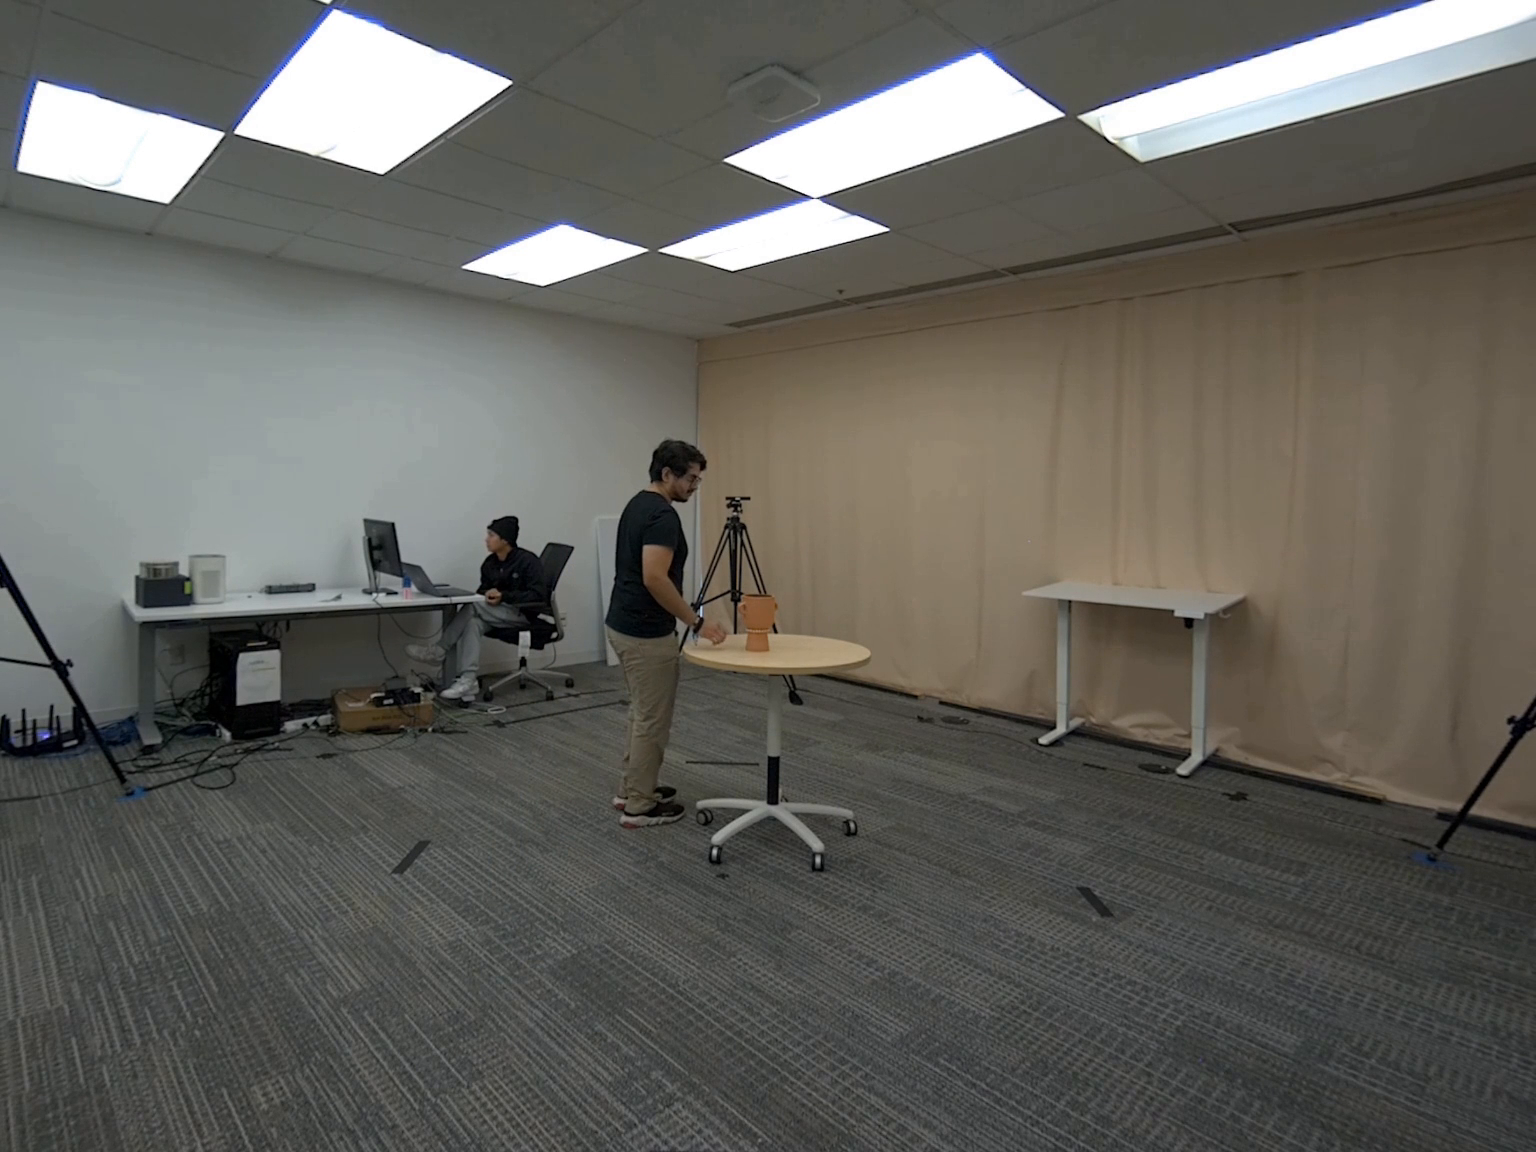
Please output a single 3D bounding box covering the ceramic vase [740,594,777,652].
[{"bbox_3d":[-0.049,0.192,3.416,0.159,0.219,0.134,1,3,2],"label":"ceramic vase"}]
